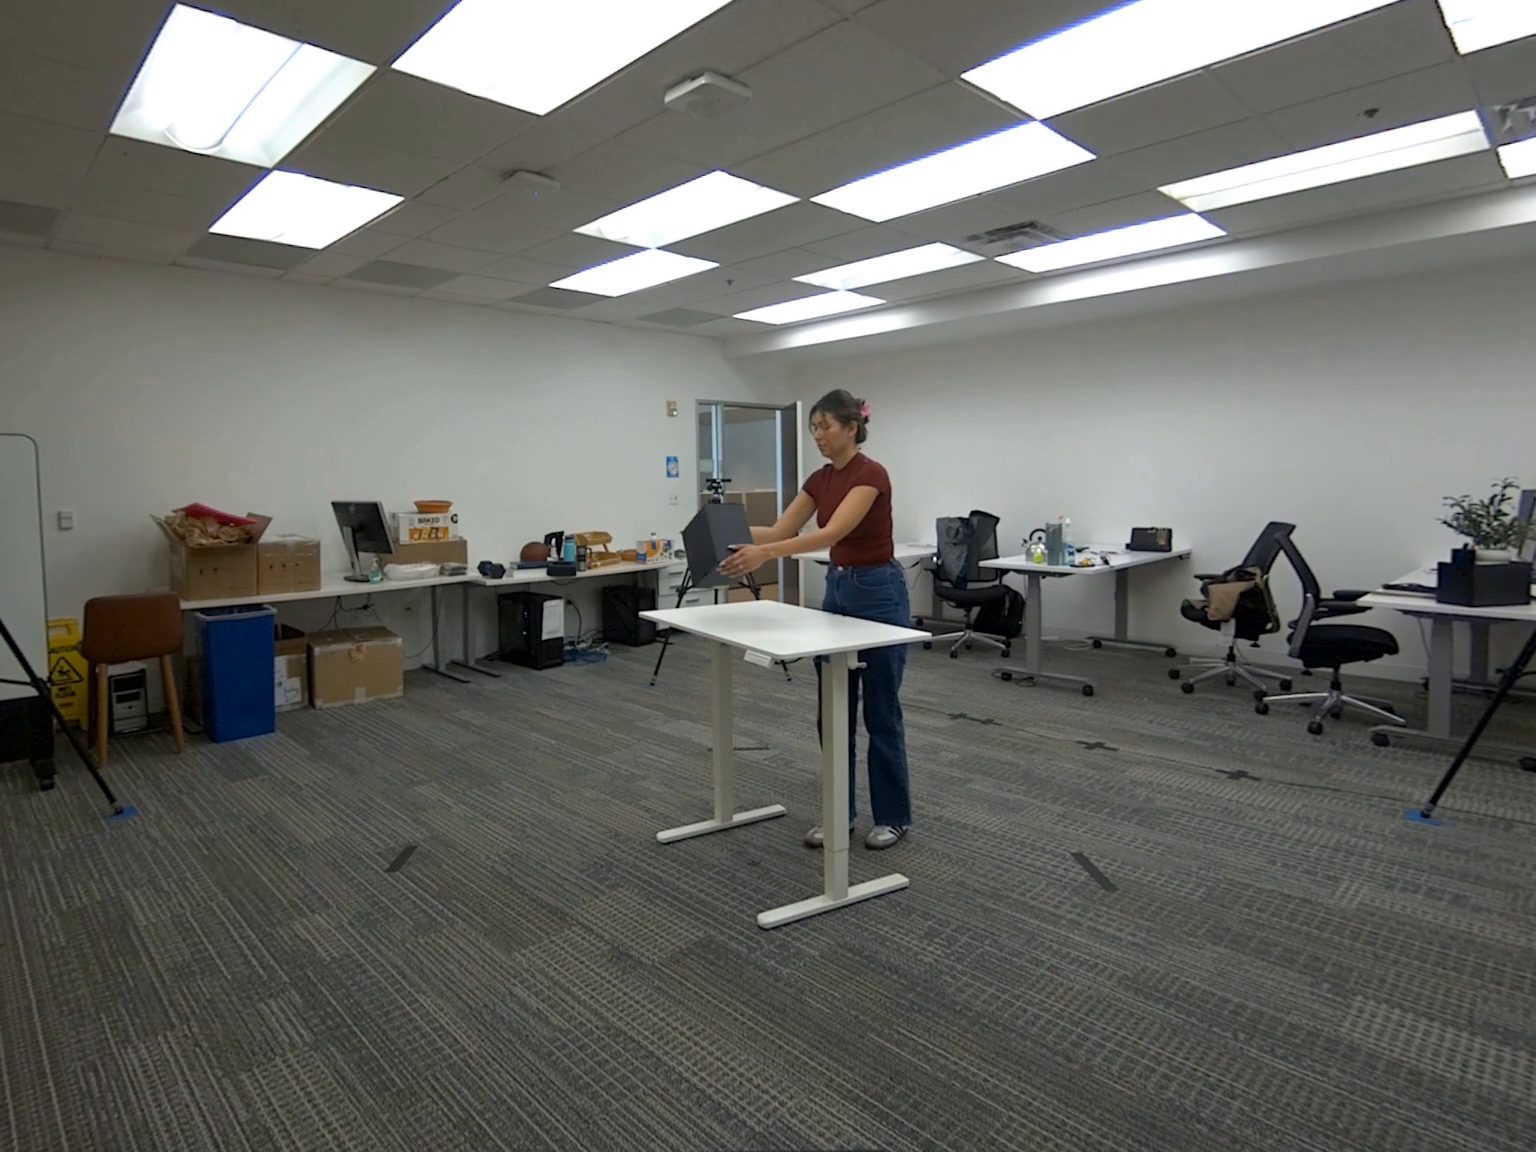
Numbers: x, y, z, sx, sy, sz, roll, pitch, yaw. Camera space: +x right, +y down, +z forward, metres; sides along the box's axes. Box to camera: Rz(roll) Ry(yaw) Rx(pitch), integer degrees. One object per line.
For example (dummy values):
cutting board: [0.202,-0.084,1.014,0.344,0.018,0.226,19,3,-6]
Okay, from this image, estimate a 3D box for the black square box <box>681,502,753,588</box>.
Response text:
black square box: [-0.179,-0.099,2.989,0.152,0.233,0.217,-1,-23,-29]
